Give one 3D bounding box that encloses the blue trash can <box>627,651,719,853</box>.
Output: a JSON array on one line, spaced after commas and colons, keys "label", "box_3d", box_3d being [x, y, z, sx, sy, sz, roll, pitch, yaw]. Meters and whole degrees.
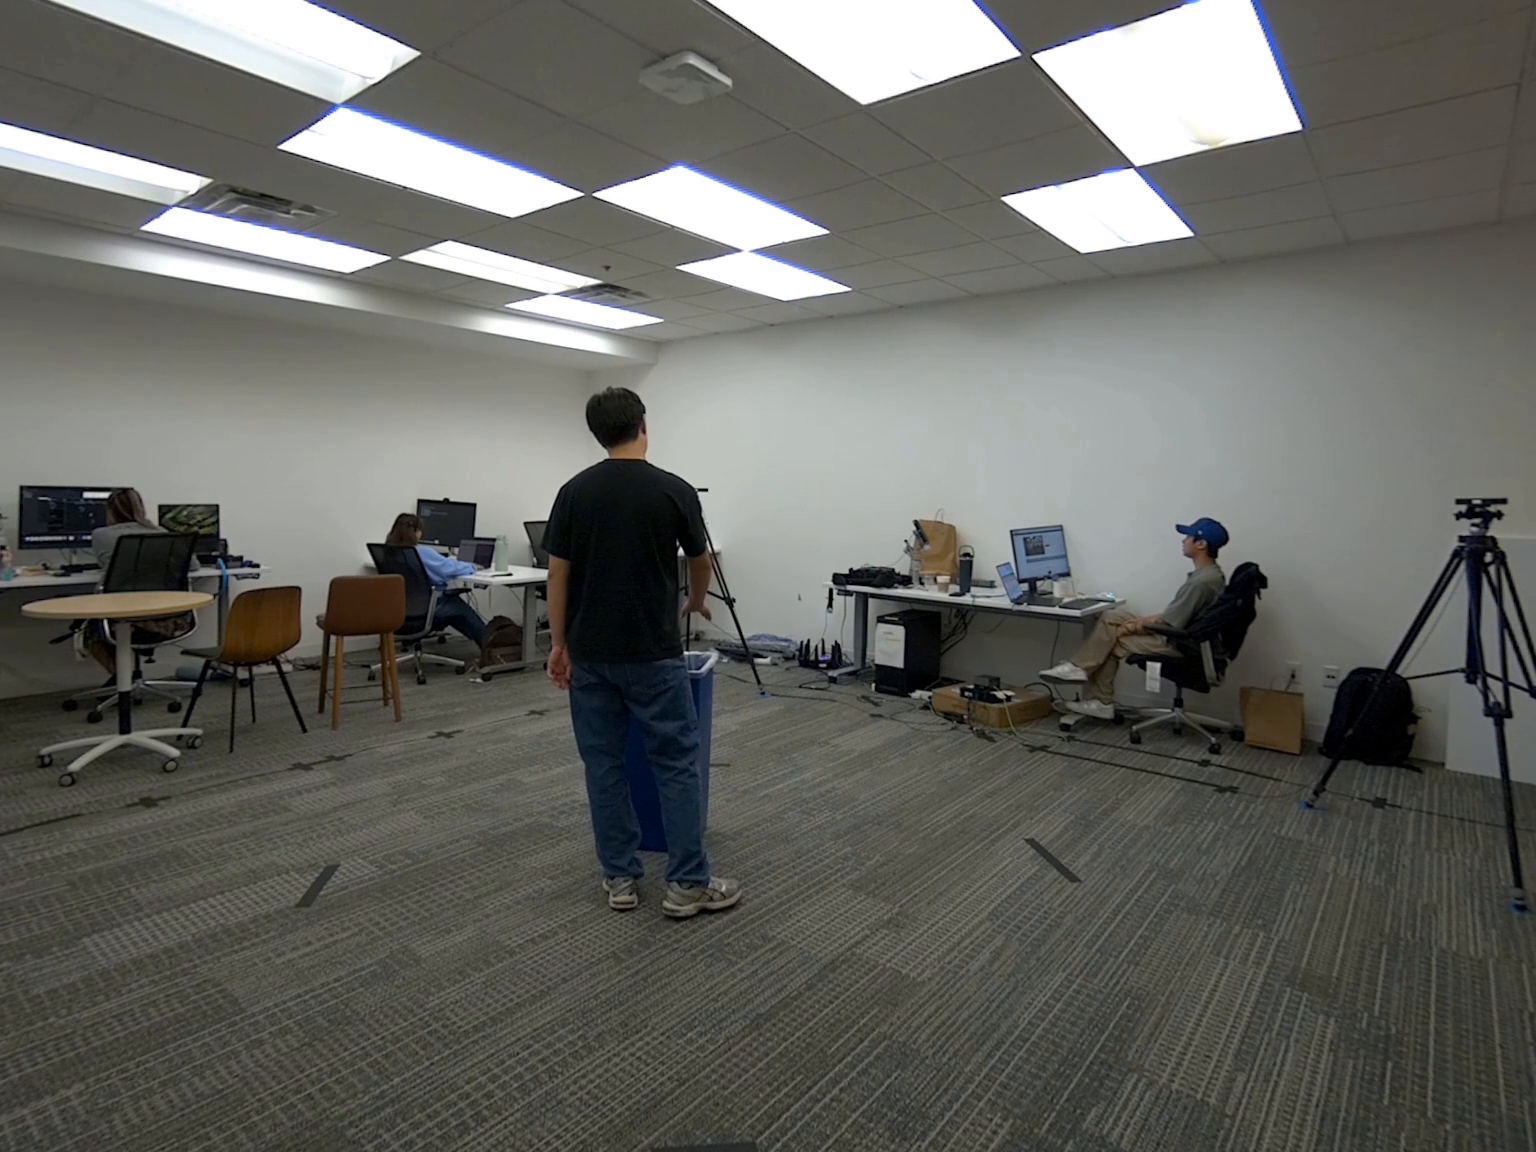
[{"label": "blue trash can", "box_3d": [-0.423, 0.679, 3.395, 0.382, 0.711, 0.372, 1, 5, 8]}]
